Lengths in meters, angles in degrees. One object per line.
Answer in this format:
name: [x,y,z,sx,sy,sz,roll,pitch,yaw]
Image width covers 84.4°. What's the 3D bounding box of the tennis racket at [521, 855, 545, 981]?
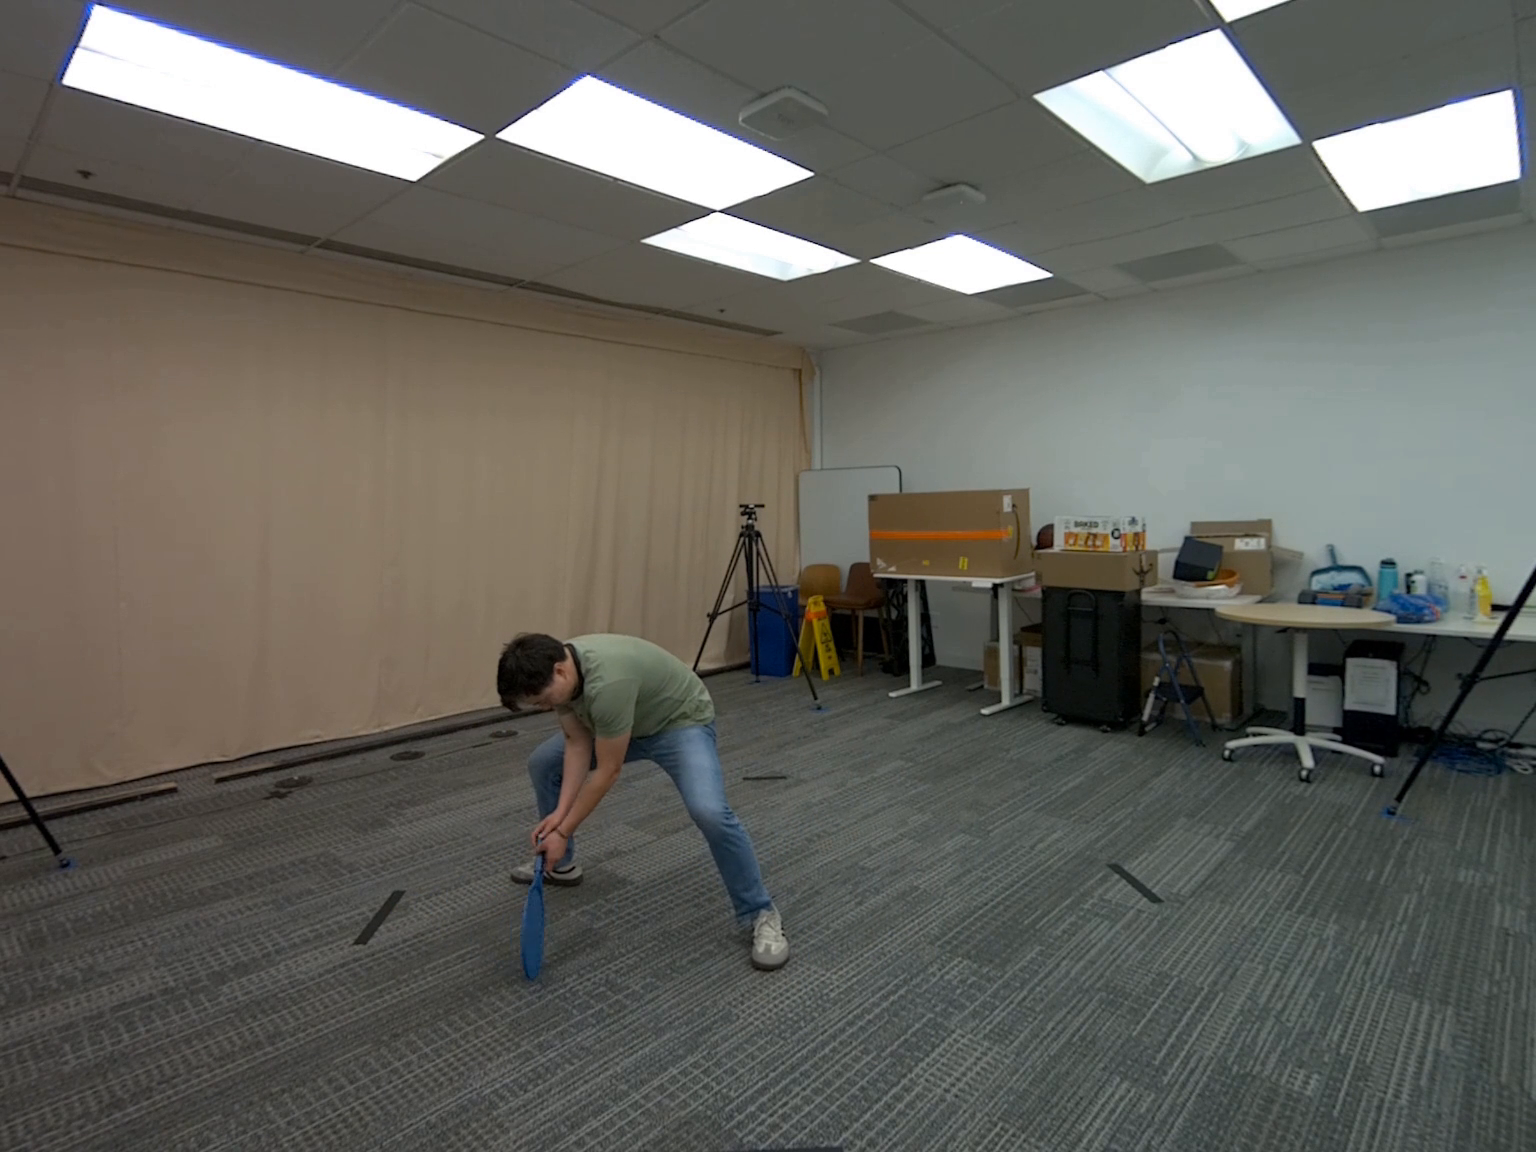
tennis racket: [-0.707,1.020,2.600,0.032,0.209,0.442,-3,44,-2]
